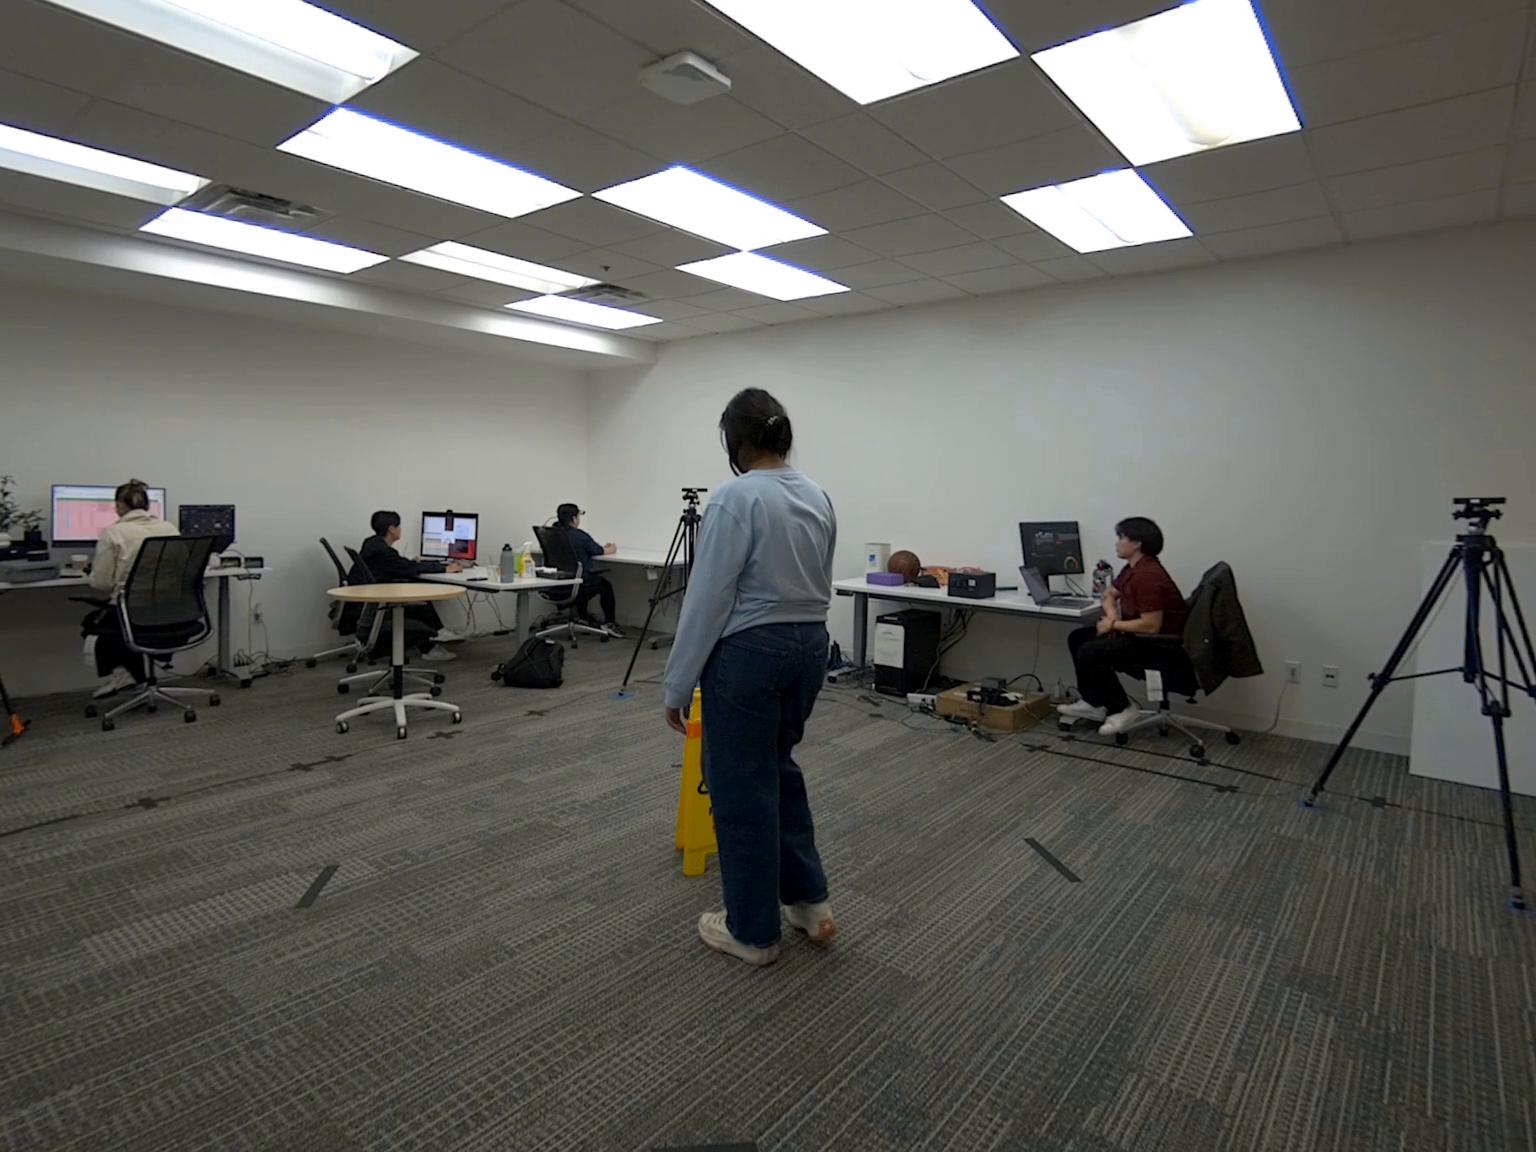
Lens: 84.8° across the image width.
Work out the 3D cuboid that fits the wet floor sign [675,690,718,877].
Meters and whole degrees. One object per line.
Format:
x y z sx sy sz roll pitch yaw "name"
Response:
-0.193 0.739 3.180 0.279 0.645 0.294 1 2 -12 "wet floor sign"
